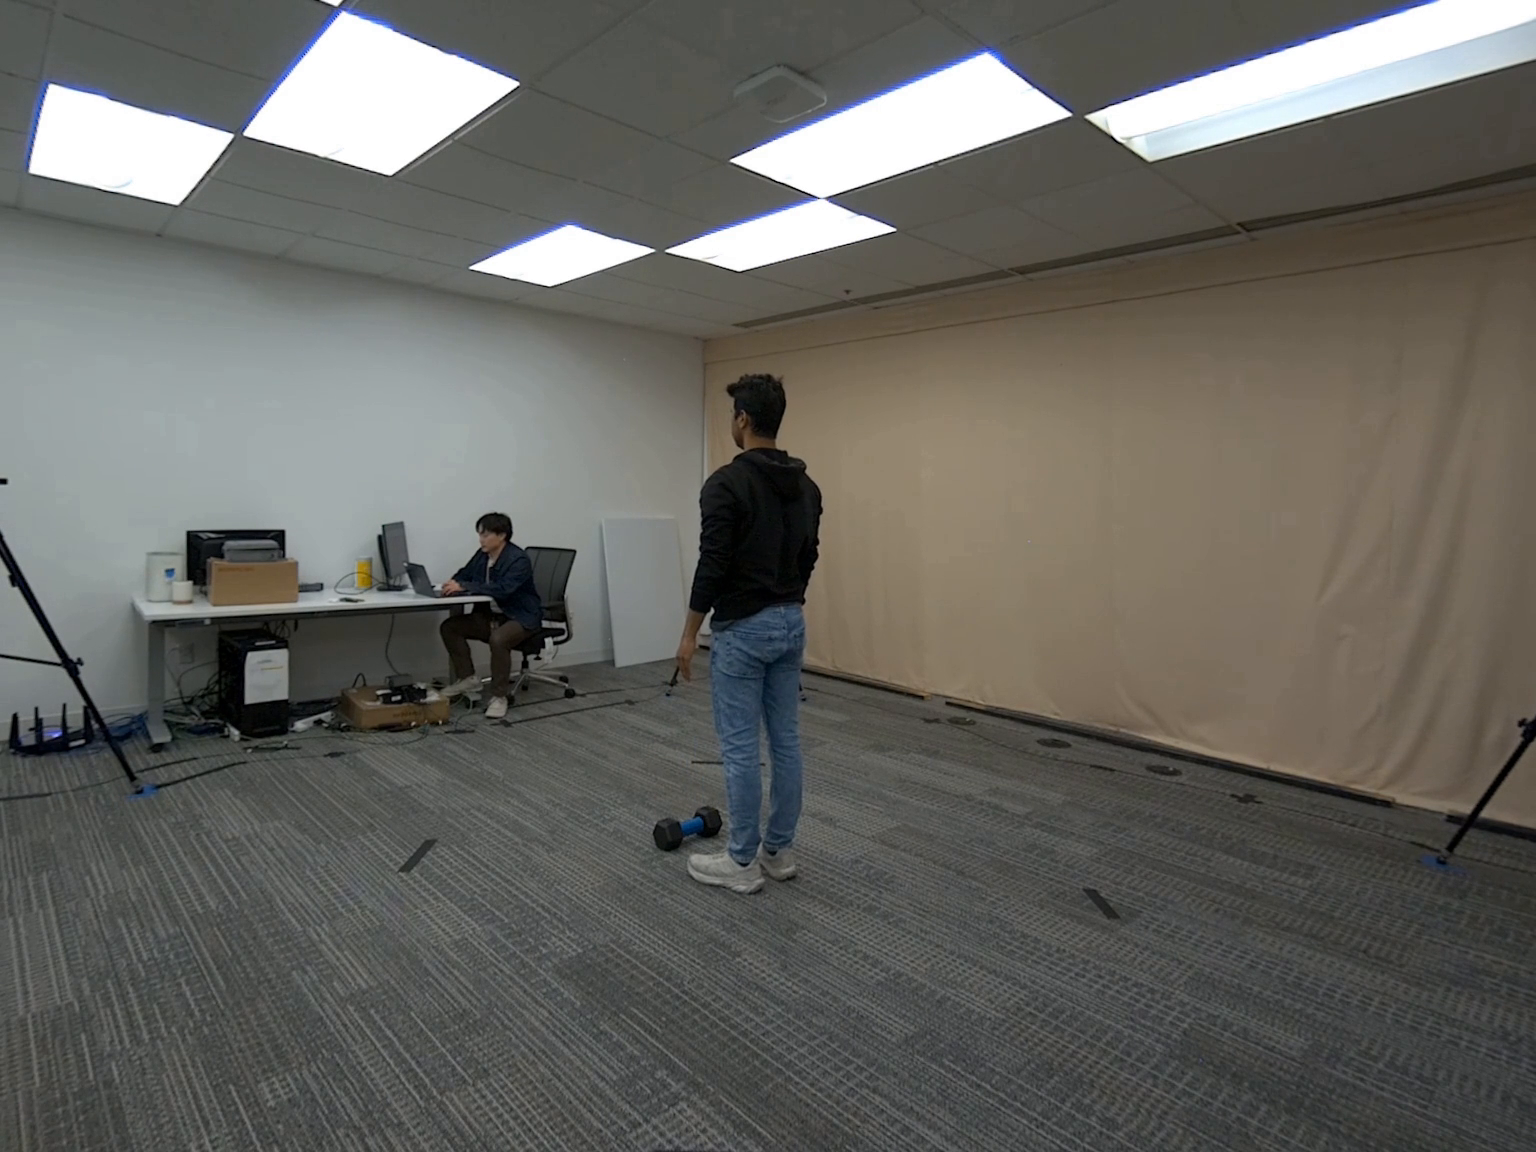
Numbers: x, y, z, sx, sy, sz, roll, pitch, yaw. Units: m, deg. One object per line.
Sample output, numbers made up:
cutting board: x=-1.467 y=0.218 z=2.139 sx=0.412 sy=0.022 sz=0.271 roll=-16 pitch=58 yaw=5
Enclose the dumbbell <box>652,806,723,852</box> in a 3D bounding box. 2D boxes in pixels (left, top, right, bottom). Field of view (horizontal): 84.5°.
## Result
dumbbell: x=-0.333 y=1.023 z=3.410 sx=0.287 sy=0.125 sz=0.109 roll=-3 pitch=-26 yaw=-46
